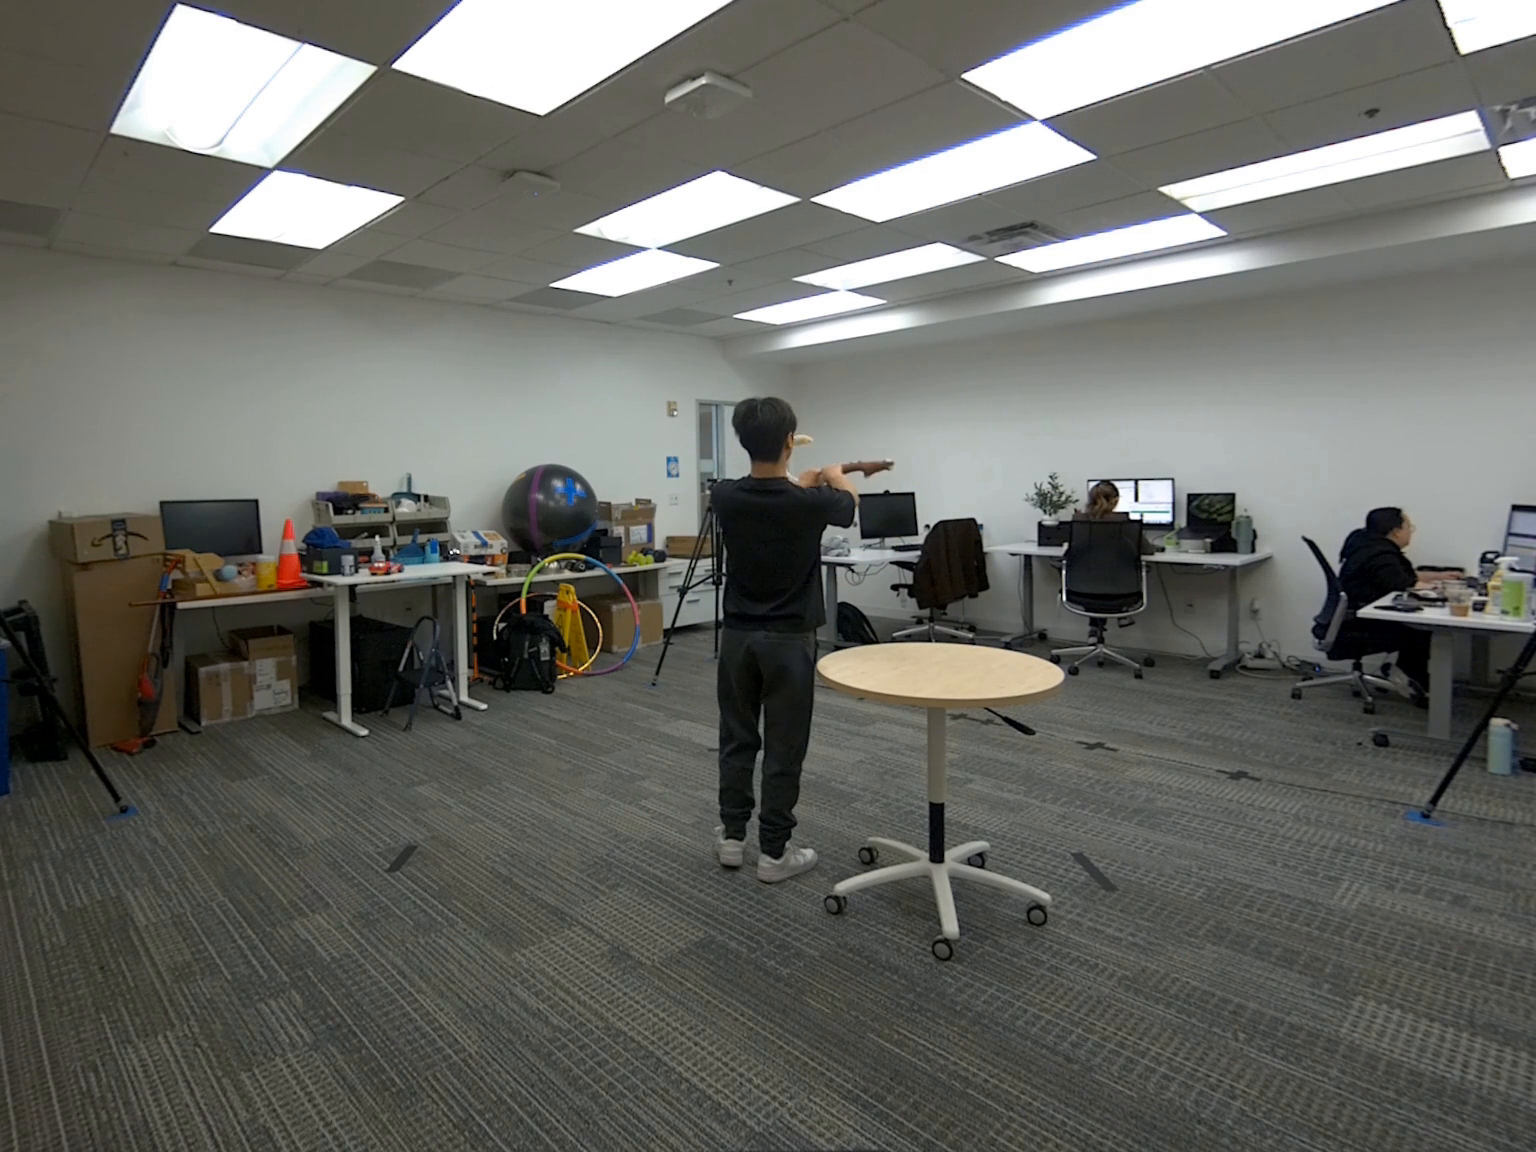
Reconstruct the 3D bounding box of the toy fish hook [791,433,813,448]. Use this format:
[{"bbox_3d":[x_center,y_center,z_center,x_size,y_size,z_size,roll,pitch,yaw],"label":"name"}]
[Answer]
[{"bbox_3d":[0.251,-0.466,3.408,0.516,0.222,0.048,-5,9,24],"label":"toy fish hook"}]
